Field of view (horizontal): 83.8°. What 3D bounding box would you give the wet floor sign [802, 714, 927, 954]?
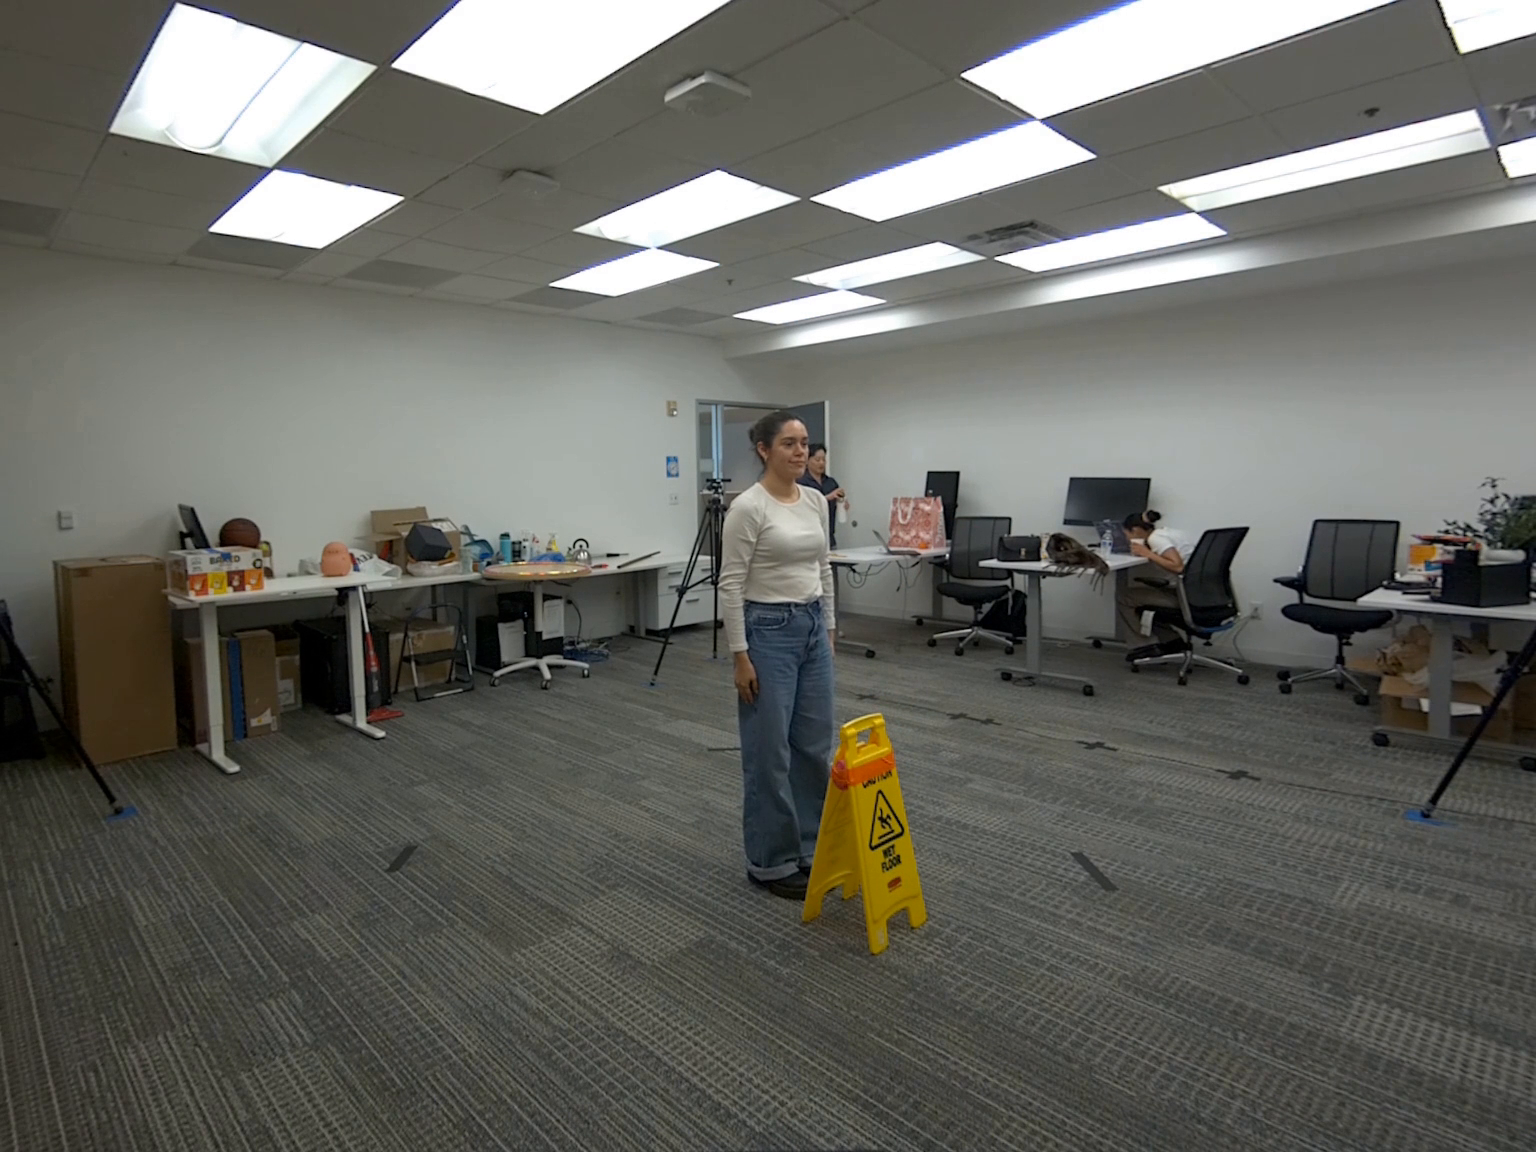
[{"bbox_3d":[0.302,0.764,2.665,0.299,0.643,0.275,5,8,45],"label":"wet floor sign"}]
